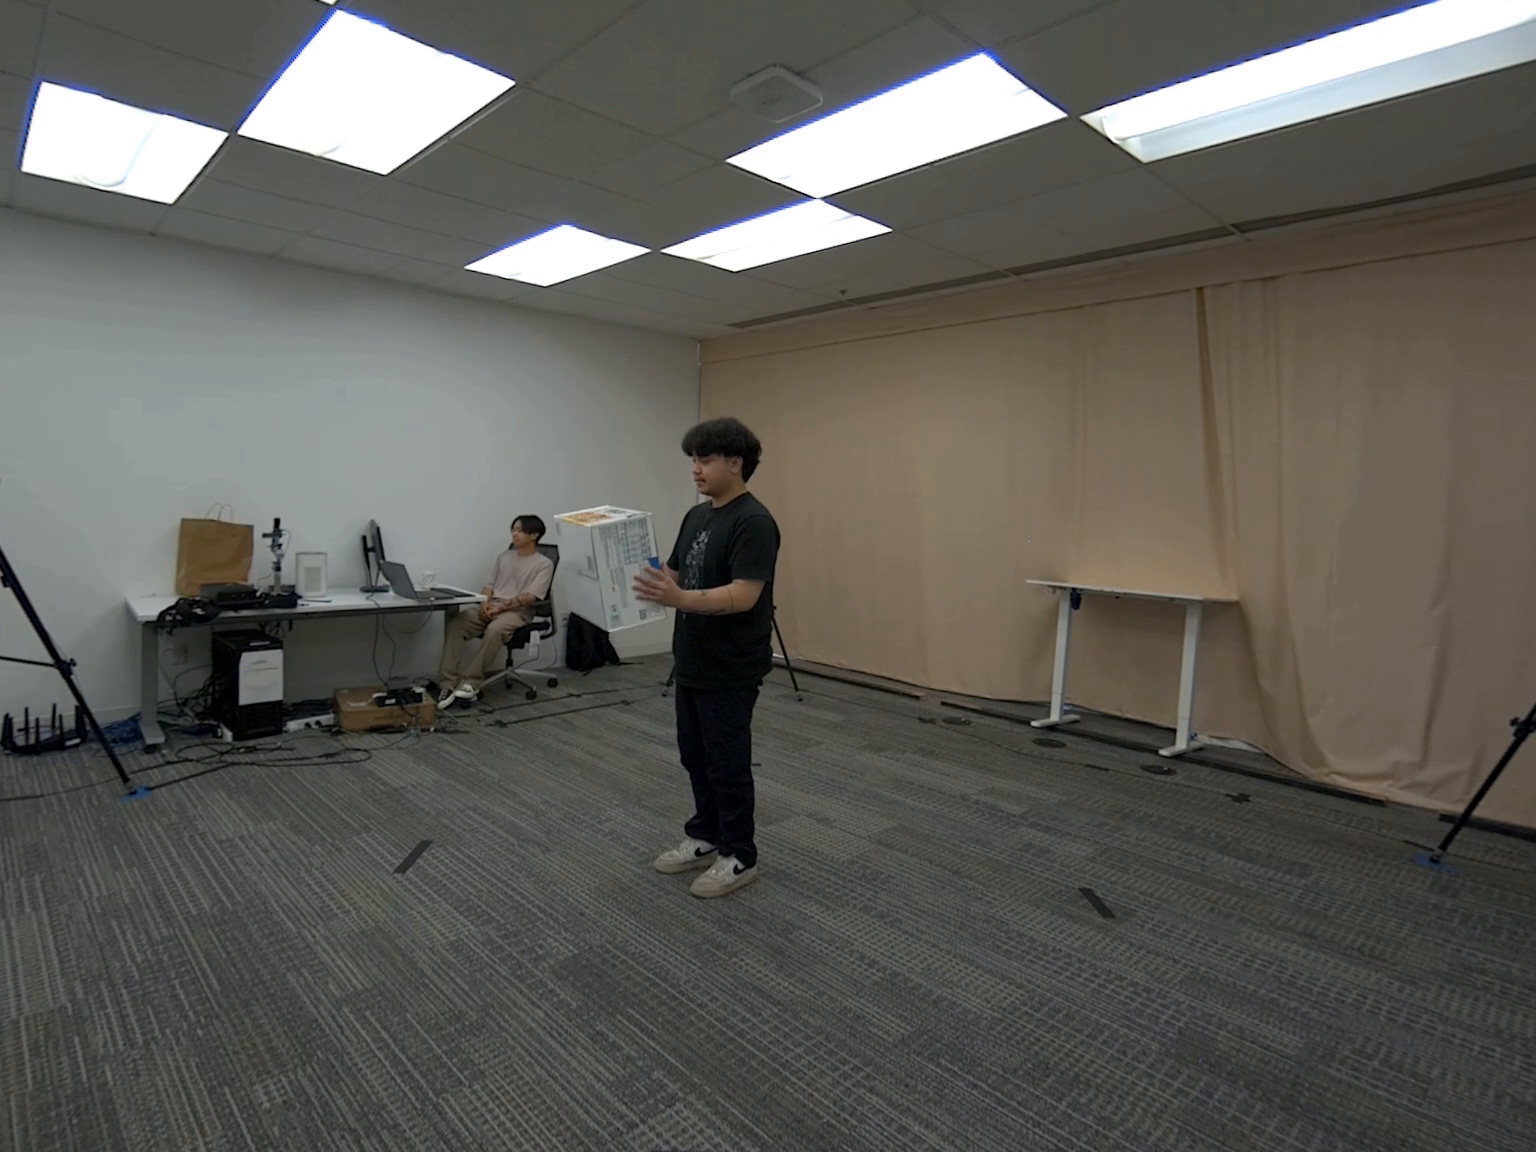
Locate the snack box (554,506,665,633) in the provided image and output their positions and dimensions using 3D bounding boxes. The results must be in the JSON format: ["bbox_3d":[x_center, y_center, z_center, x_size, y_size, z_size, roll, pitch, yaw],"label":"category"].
[{"bbox_3d":[-0.534,-0.036,2.774,0.202,0.337,0.415,-12,12,-28],"label":"snack box"}]
